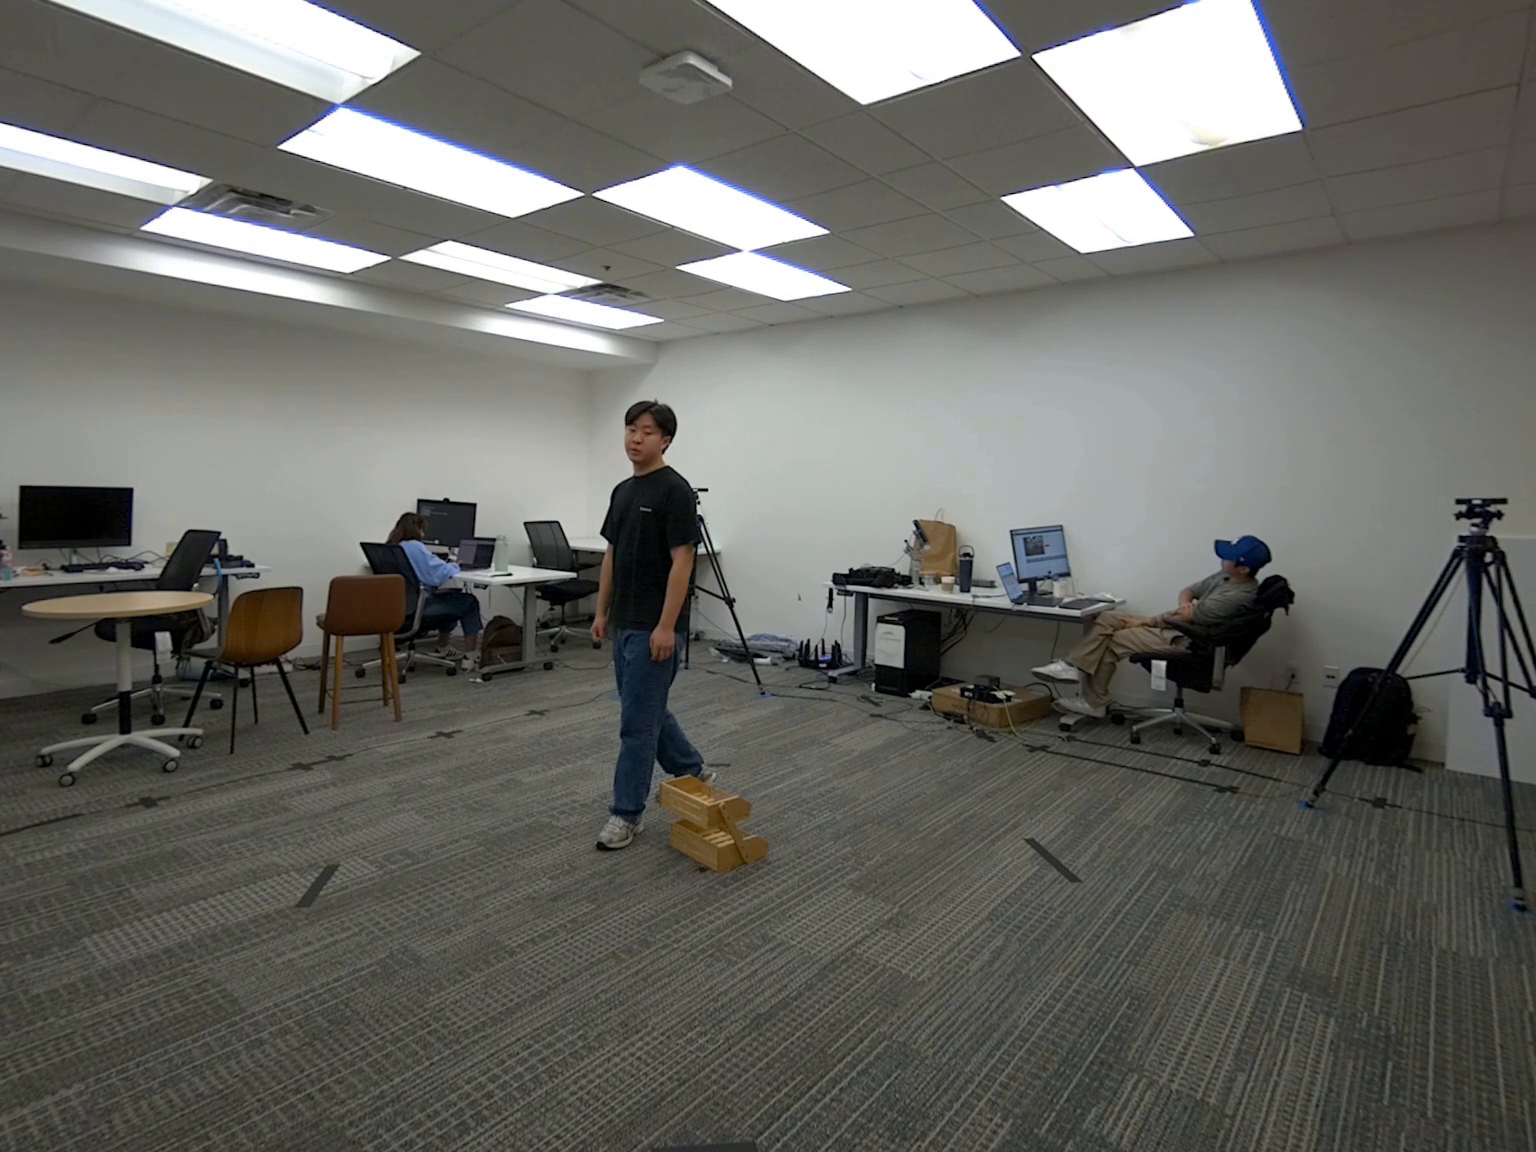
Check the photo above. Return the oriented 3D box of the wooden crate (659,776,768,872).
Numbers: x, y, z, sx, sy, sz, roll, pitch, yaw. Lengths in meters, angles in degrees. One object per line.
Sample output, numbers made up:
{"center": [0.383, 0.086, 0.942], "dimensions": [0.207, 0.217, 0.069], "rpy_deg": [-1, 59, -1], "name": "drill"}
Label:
{"center": [-0.214, 0.920, 3.257], "dimensions": [0.293, 0.272, 0.335], "rpy_deg": [-4, 6, -41], "name": "wooden crate"}
